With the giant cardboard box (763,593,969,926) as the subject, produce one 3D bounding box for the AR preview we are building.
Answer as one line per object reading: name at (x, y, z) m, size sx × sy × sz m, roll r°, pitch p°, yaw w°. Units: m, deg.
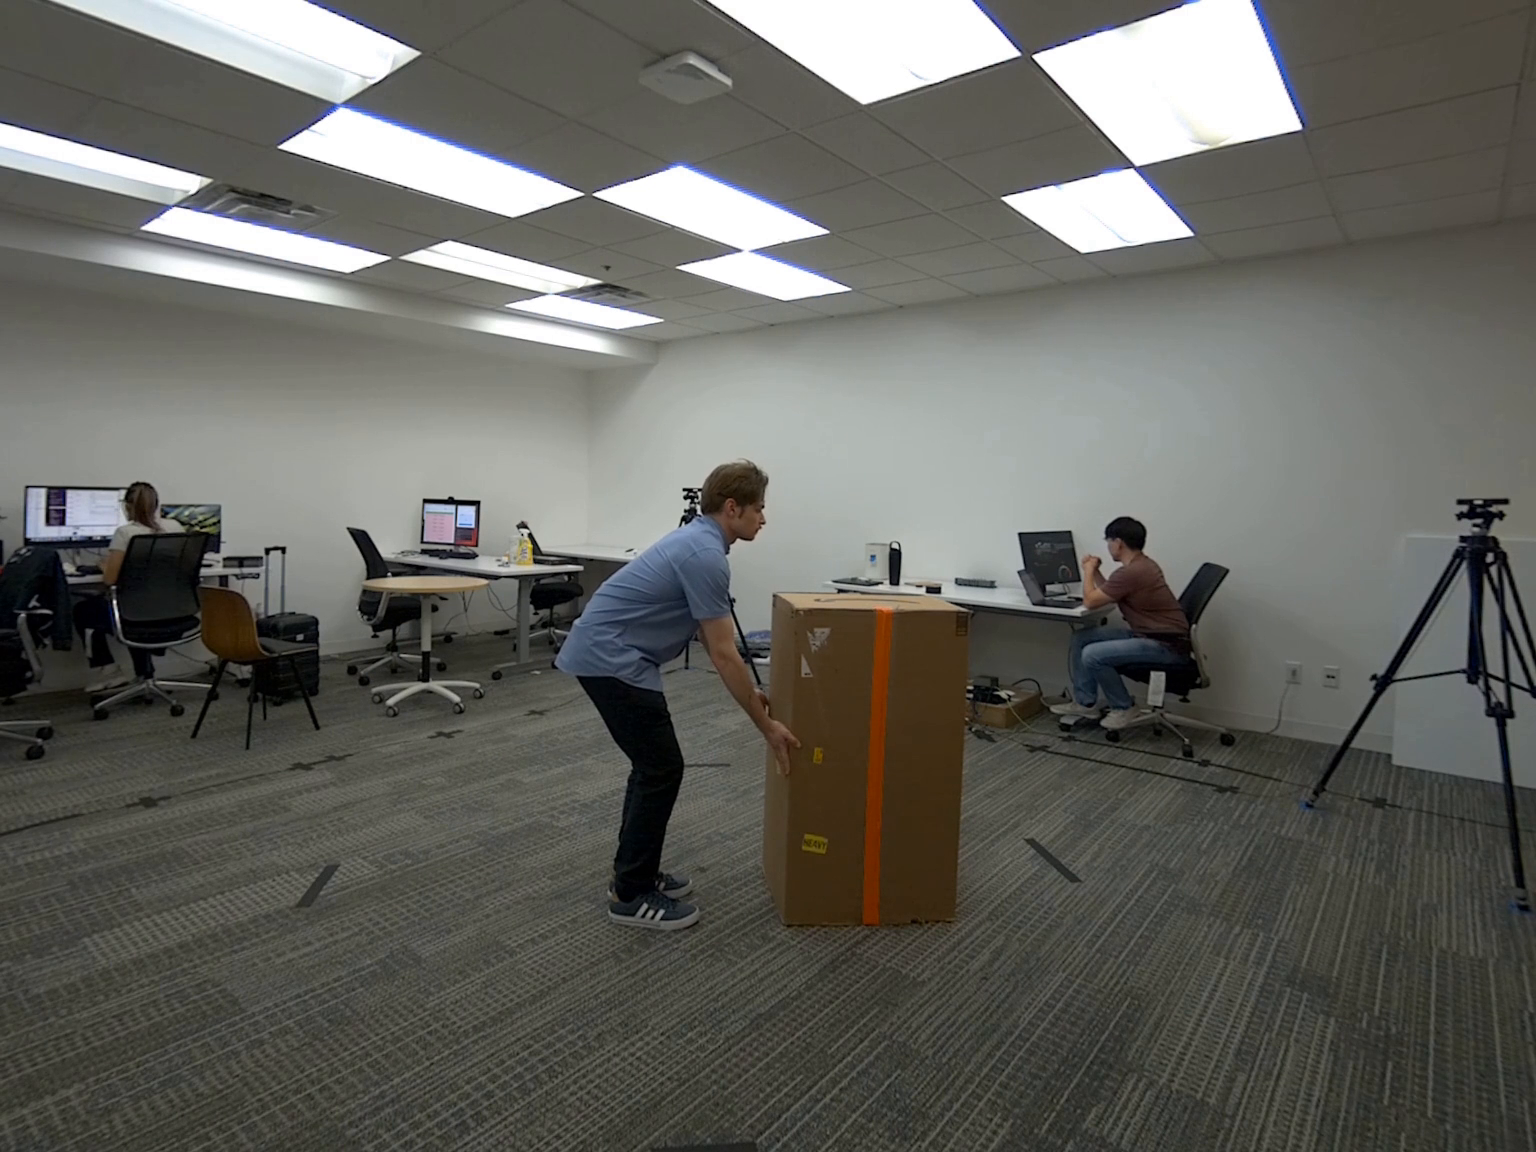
giant cardboard box at (0.310, 0.590, 2.917) m, size 0.573 × 1.022 × 0.431 m, roll 1°, pitch 4°, yaw -8°
